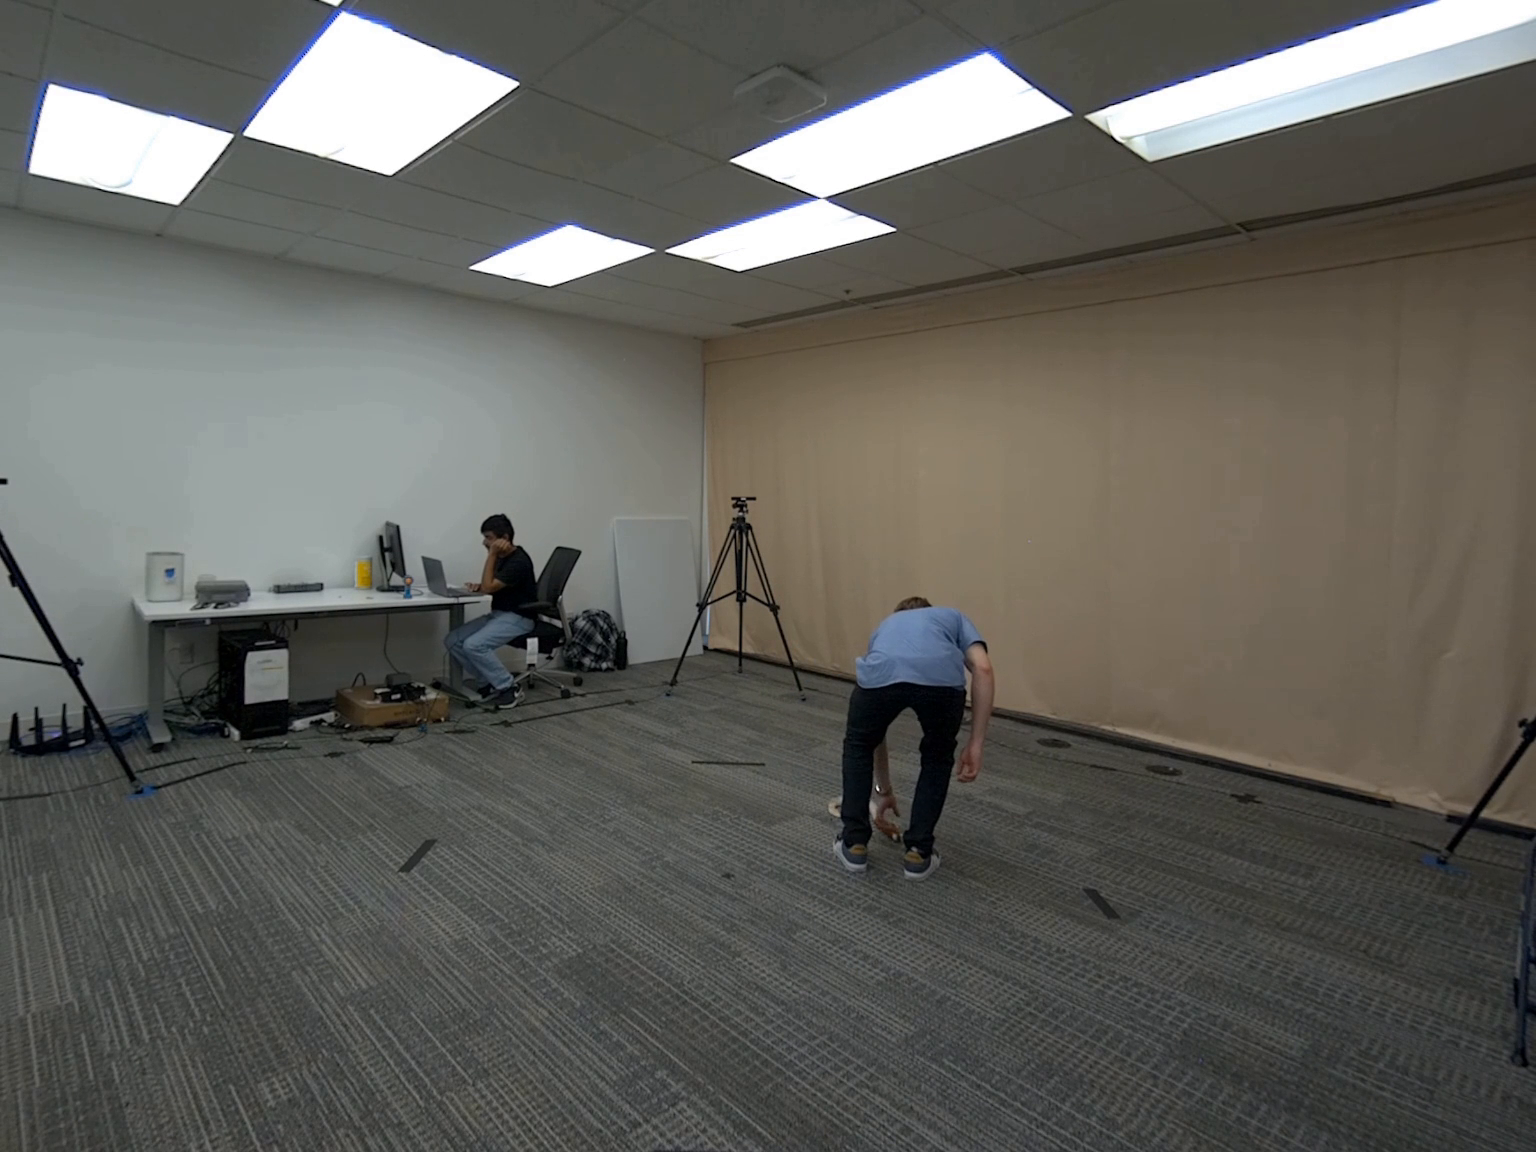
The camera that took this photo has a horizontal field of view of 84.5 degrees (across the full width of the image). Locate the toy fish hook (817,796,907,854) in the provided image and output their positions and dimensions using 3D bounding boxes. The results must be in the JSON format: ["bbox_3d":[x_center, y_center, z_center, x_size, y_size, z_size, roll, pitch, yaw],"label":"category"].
[{"bbox_3d":[0.409,1.059,3.671,0.222,0.048,0.514,-8,6,-16],"label":"toy fish hook"}]
